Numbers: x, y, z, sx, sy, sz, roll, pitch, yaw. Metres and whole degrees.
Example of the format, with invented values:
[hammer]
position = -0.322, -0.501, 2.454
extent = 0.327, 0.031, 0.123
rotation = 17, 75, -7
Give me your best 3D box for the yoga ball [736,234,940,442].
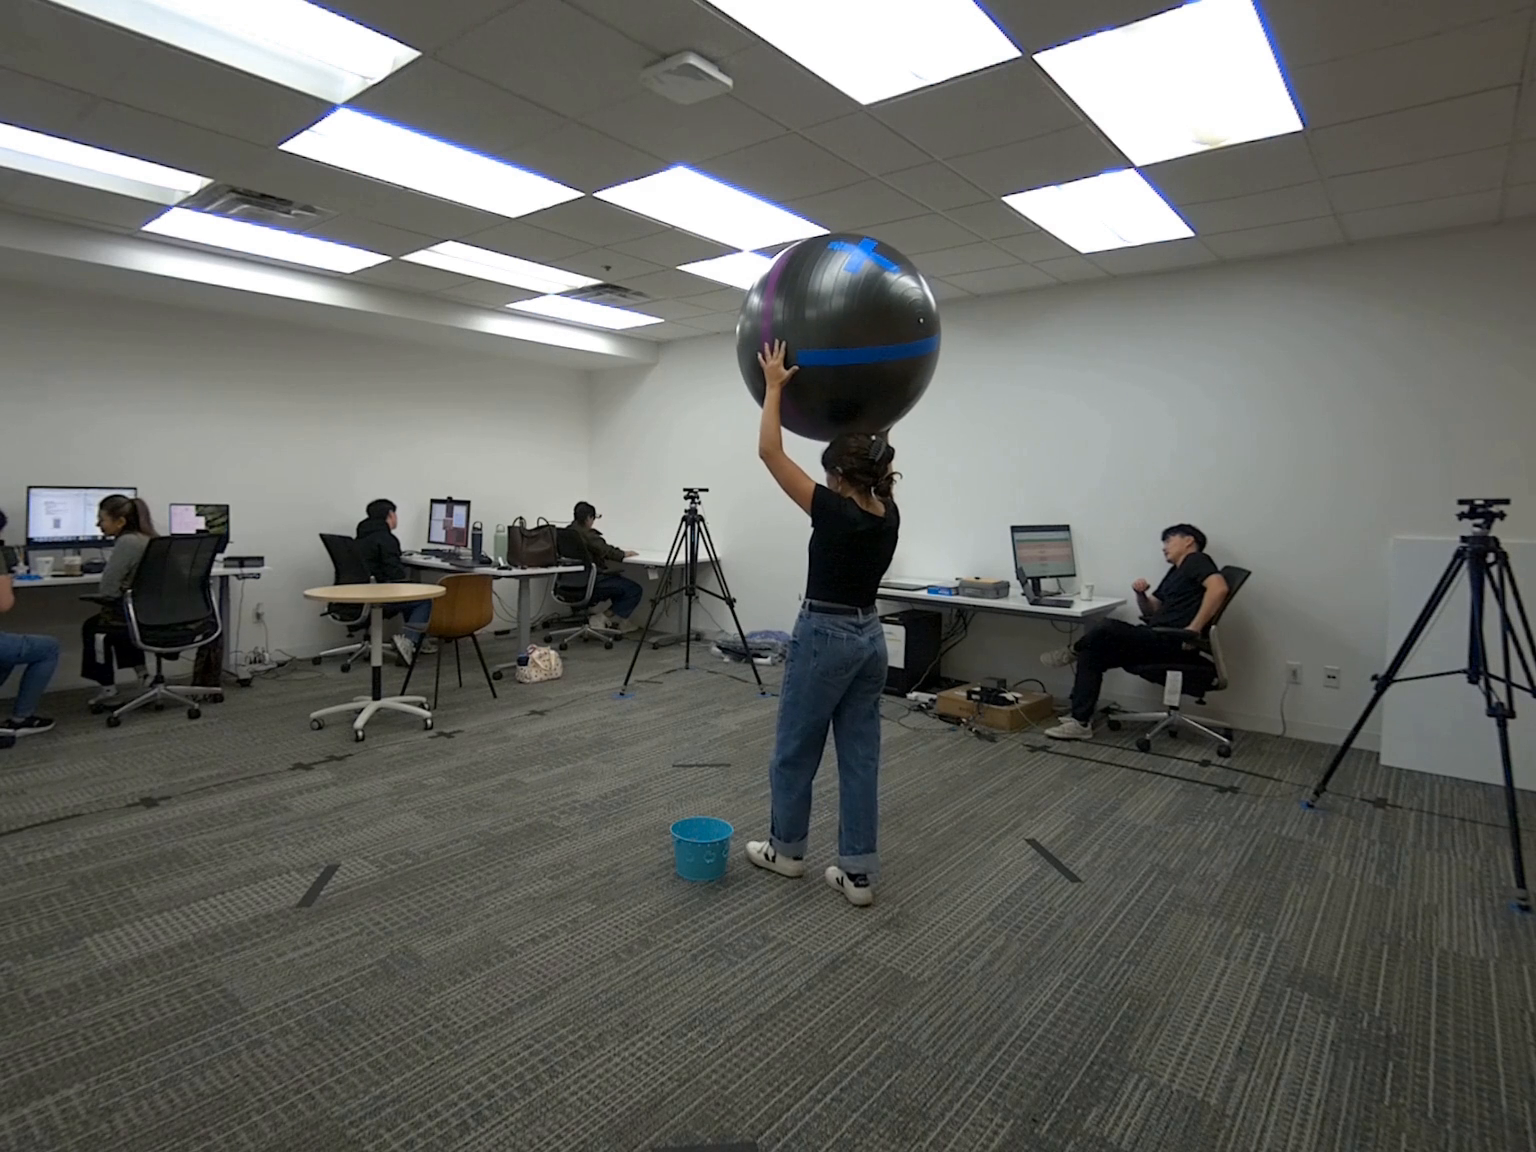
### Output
[yoga ball]
position = 0.245, -0.880, 3.188
extent = 0.757, 0.756, 0.762
rotation = 1, 4, -2
